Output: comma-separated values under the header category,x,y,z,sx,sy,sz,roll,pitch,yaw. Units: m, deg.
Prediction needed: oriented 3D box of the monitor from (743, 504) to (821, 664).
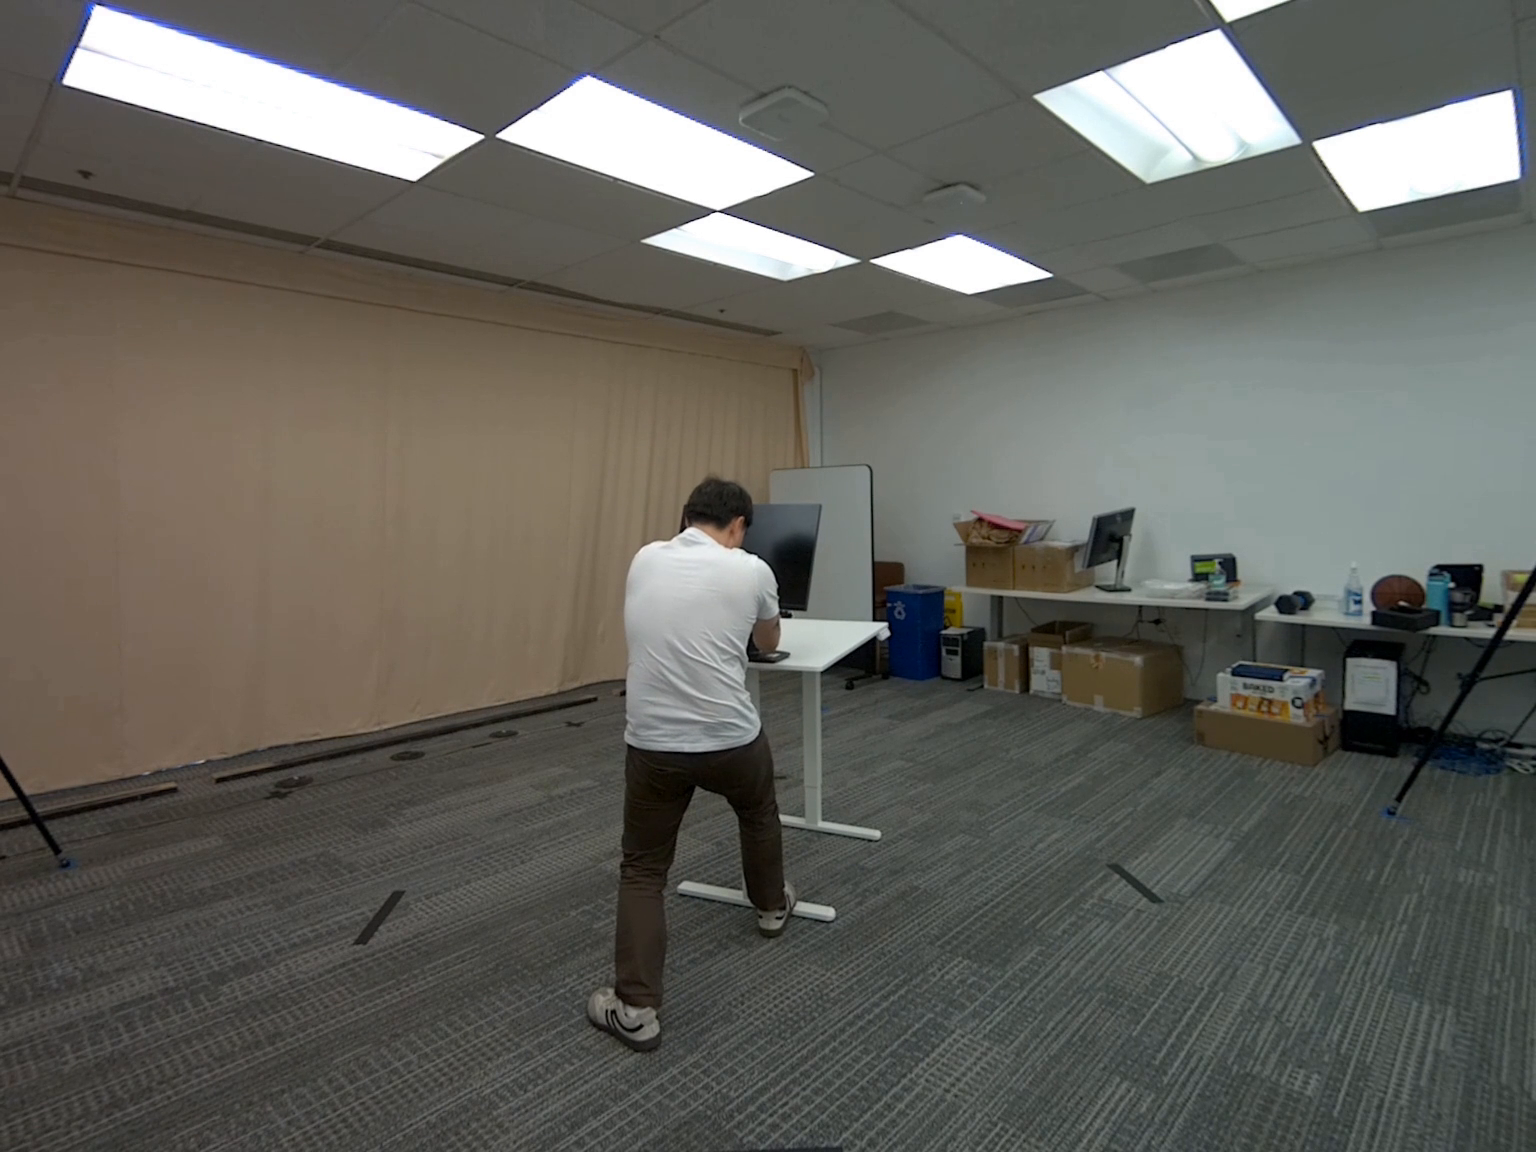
category,x,y,z,sx,sy,sz,roll,pitch,yaw
monitor,-0.063,0.019,2.837,0.554,0.522,0.182,2,1,30
